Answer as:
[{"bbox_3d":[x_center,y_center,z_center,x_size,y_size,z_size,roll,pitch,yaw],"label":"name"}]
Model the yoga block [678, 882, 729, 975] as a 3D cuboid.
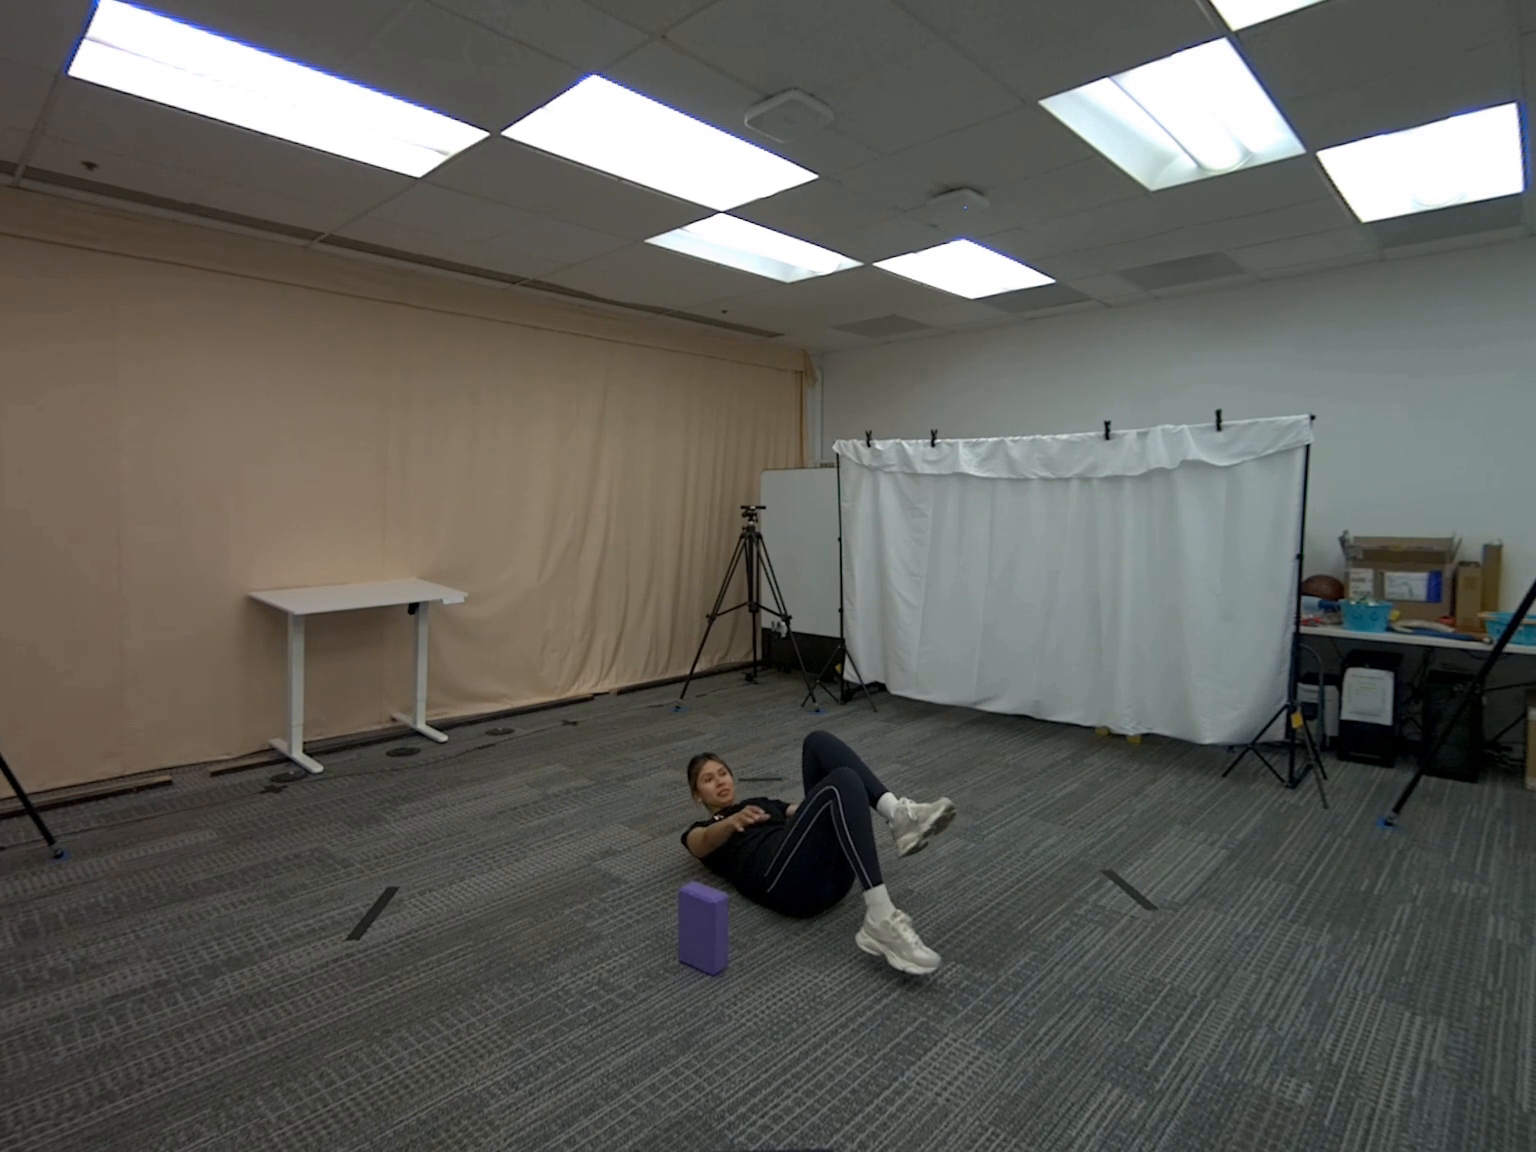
[{"bbox_3d":[-0.193,1.066,2.553,0.154,0.229,0.074,3,5,35],"label":"yoga block"}]
